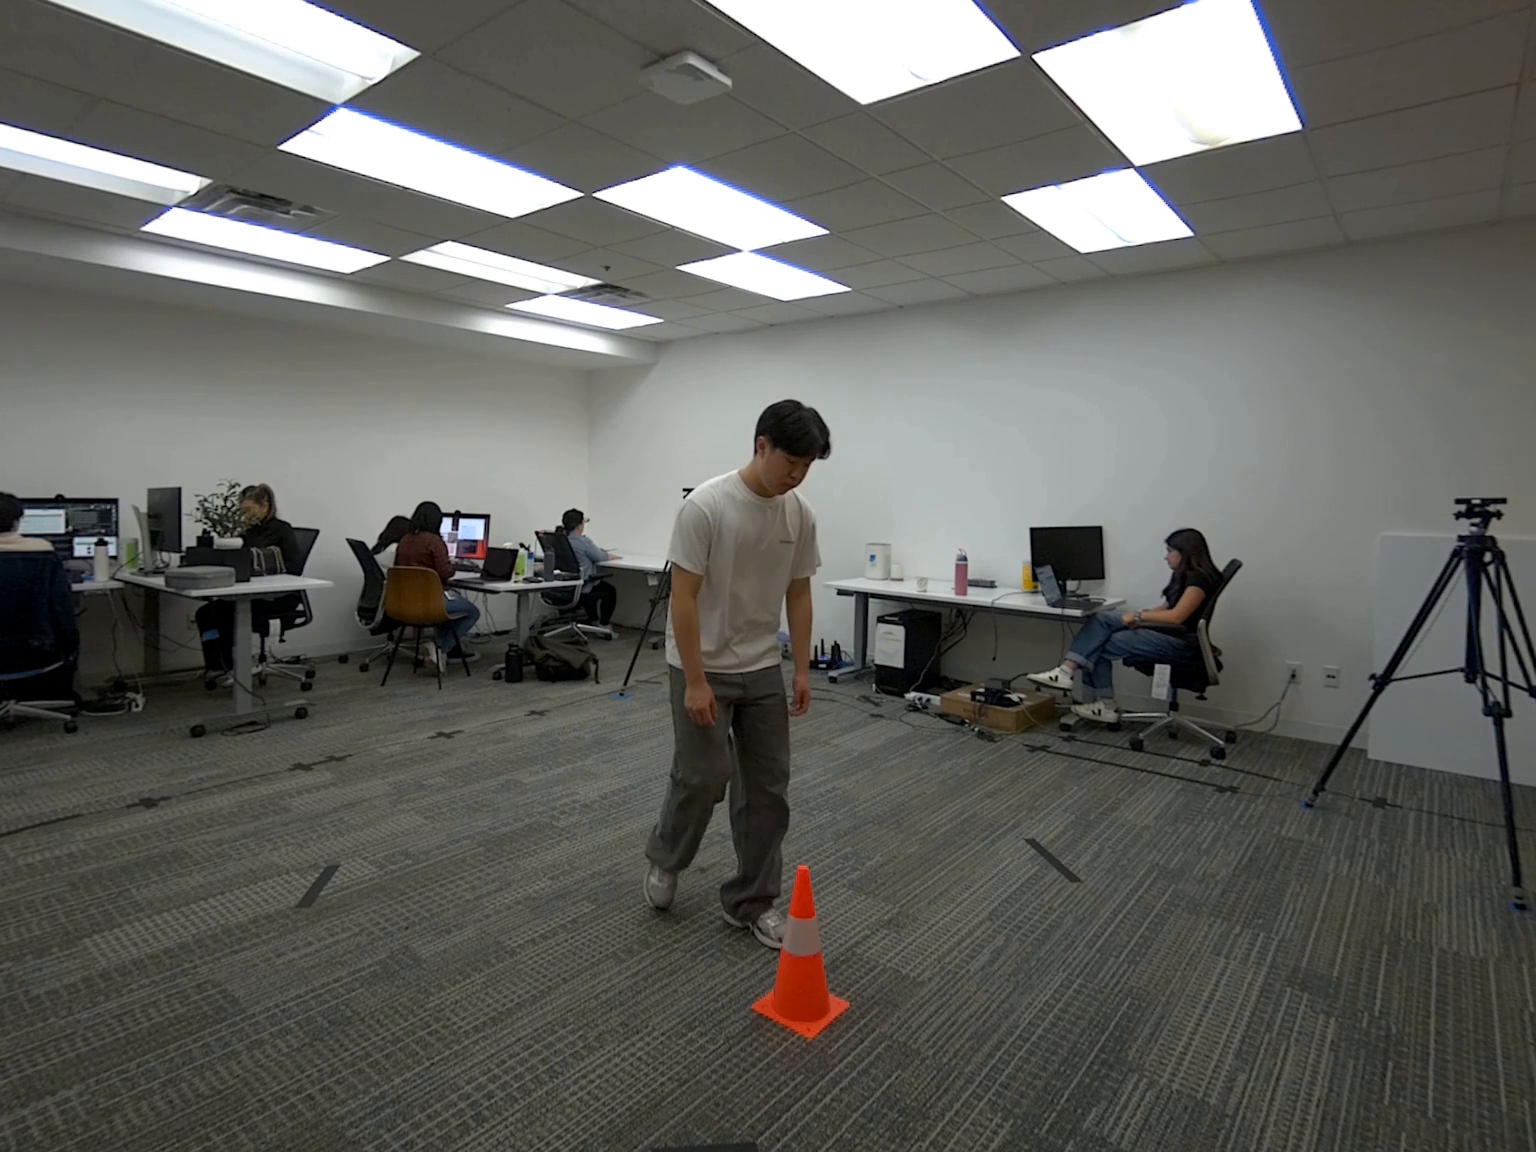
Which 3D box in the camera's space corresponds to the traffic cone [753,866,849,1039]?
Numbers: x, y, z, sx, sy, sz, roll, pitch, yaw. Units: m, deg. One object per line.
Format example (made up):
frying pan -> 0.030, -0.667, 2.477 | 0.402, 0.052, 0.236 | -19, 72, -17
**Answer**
traffic cone -> 0.093, 0.969, 2.283 | 0.212, 0.382, 0.197 | 5, 6, 42
